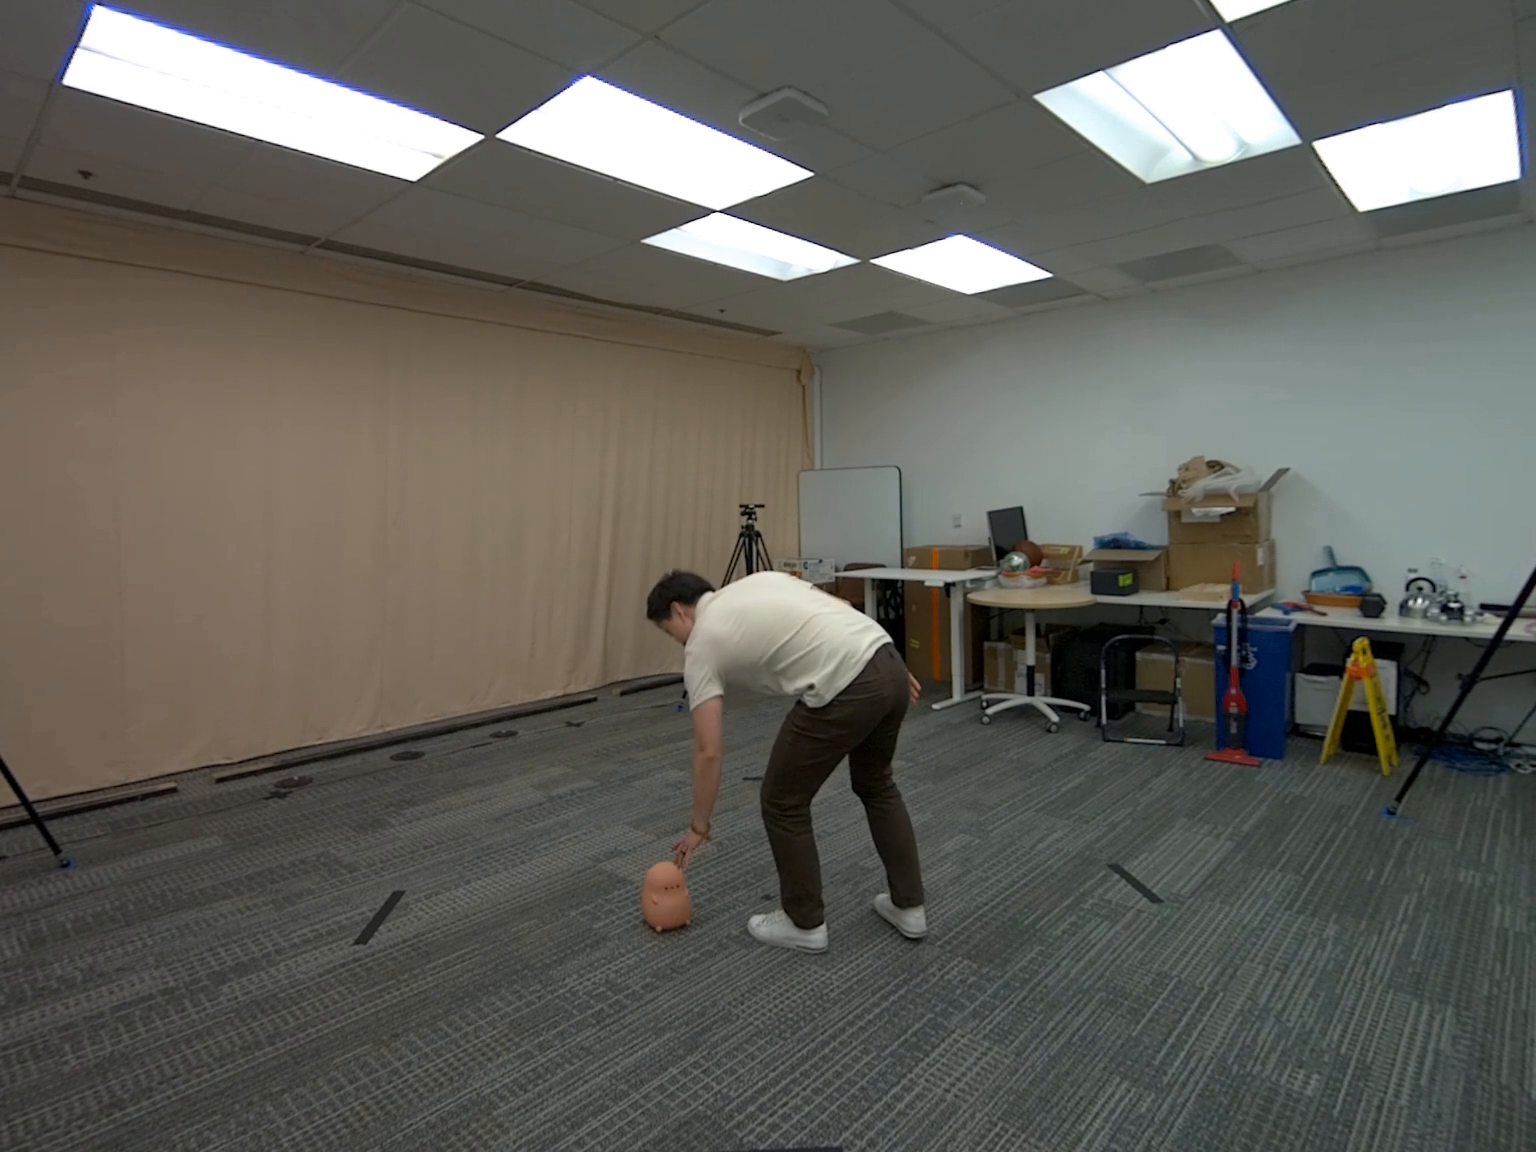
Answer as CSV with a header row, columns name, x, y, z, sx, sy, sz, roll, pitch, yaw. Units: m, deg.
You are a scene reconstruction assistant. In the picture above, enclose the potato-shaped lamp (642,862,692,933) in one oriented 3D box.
name,x,y,z,sx,sy,sz,roll,pitch,yaw
potato-shaped lamp,-0.343,1.059,2.813,0.162,0.197,0.175,-3,4,-18
